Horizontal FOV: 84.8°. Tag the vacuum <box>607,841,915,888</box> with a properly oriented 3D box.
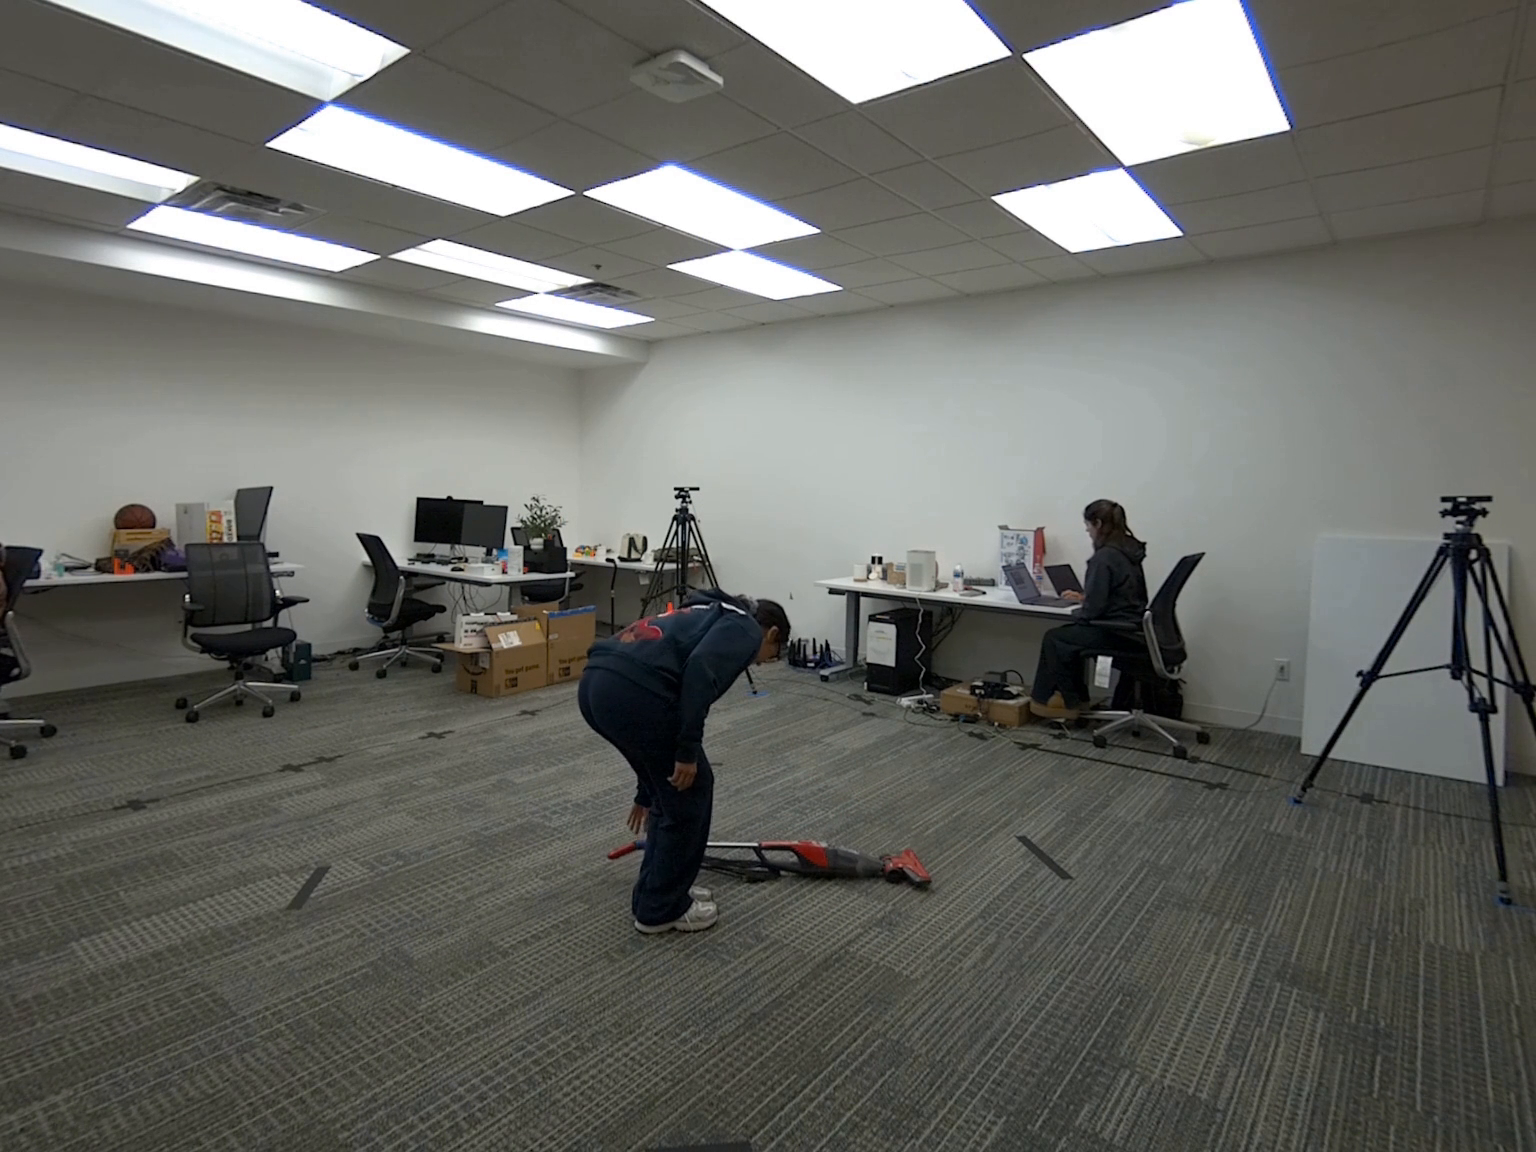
[{"bbox_3d":[-0.051,1.008,3.063,1.046,0.143,0.255,3,9,-3],"label":"vacuum"}]
